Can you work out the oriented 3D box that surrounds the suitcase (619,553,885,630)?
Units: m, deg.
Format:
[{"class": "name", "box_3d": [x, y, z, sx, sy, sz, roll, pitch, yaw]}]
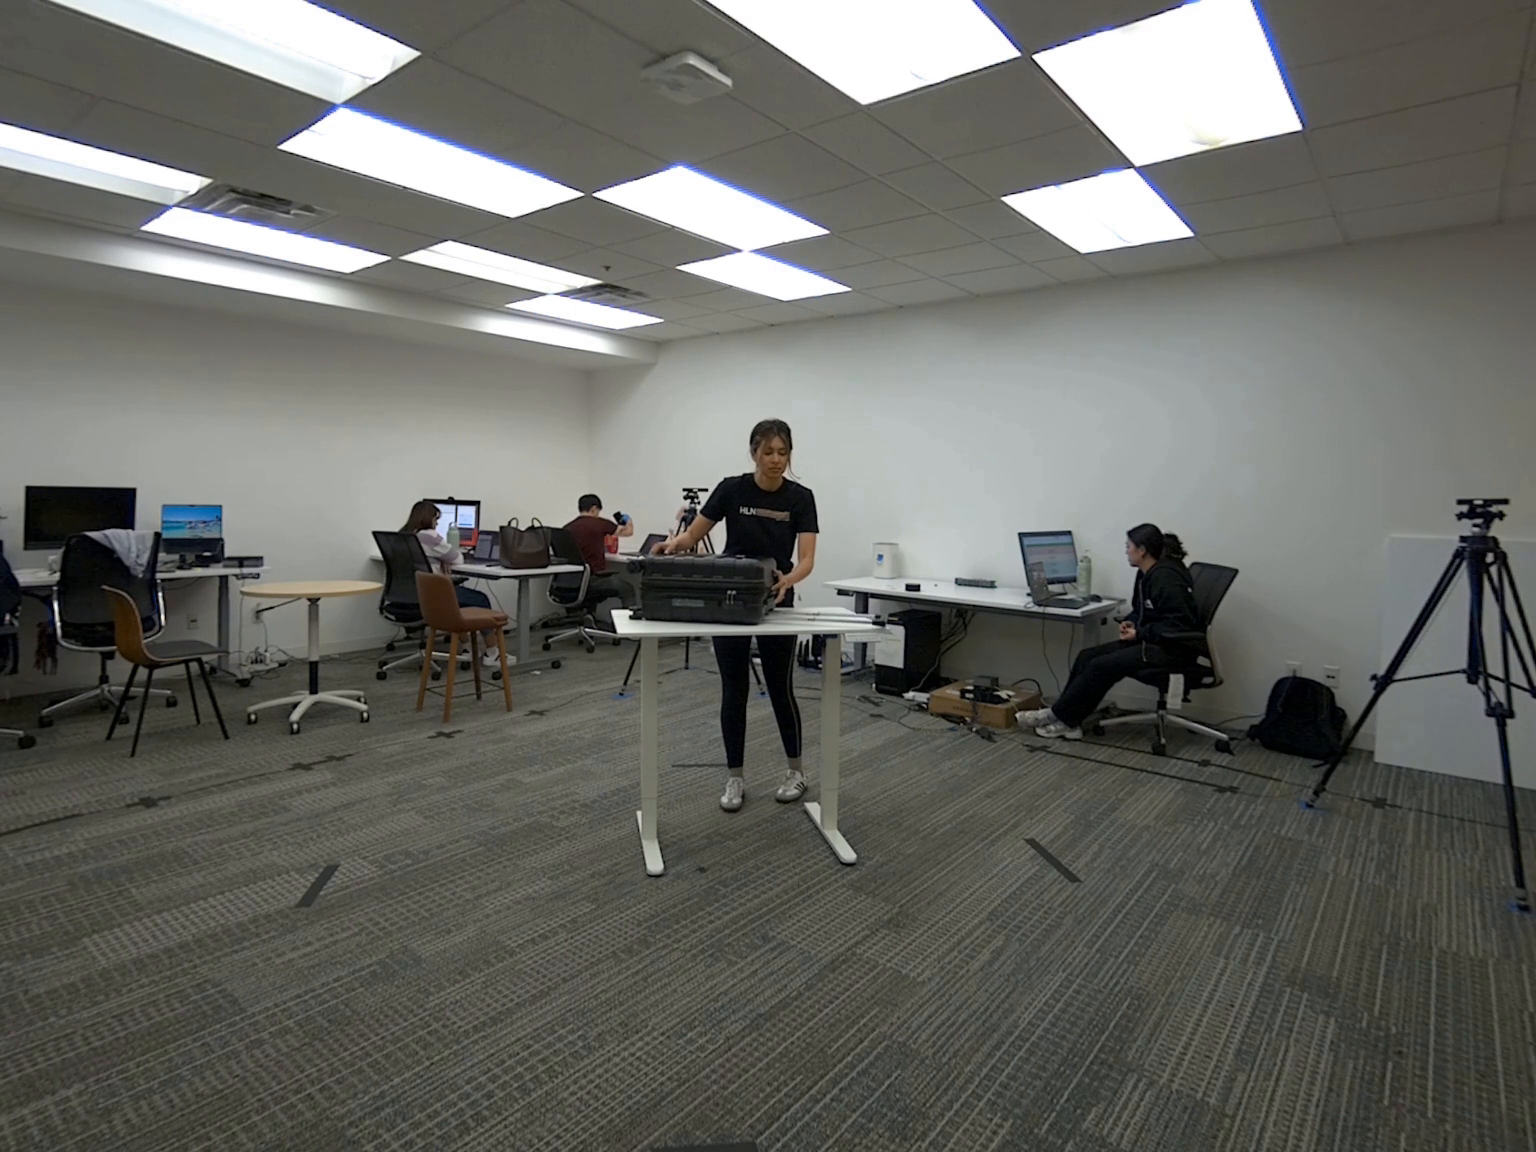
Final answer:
[{"class": "suitcase", "box_3d": [-0.054, 0.044, 3.299, 0.993, 0.257, 0.379, 0, 3, 13]}]
